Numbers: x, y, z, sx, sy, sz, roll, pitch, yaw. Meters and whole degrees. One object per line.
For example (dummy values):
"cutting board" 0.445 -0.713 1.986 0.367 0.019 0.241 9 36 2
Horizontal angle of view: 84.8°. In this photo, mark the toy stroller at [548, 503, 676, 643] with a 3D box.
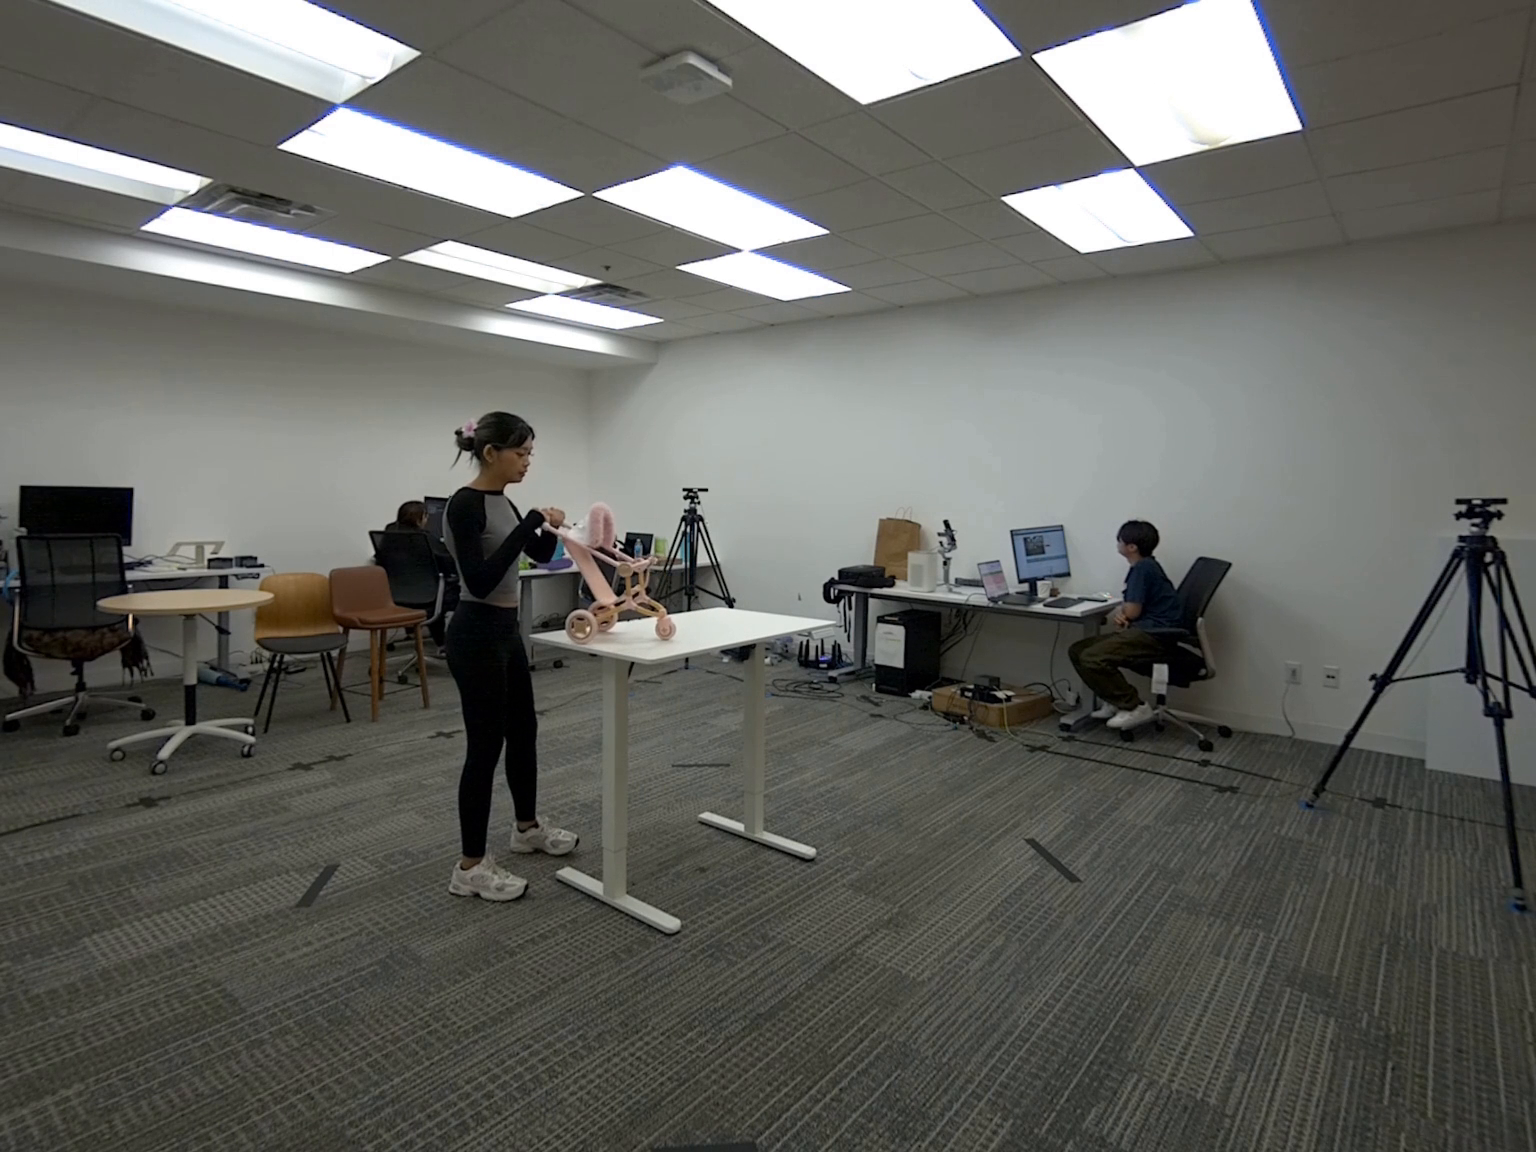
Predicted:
"toy stroller" -0.543 -0.010 2.858 0.345 0.535 0.279 -16 1 12
